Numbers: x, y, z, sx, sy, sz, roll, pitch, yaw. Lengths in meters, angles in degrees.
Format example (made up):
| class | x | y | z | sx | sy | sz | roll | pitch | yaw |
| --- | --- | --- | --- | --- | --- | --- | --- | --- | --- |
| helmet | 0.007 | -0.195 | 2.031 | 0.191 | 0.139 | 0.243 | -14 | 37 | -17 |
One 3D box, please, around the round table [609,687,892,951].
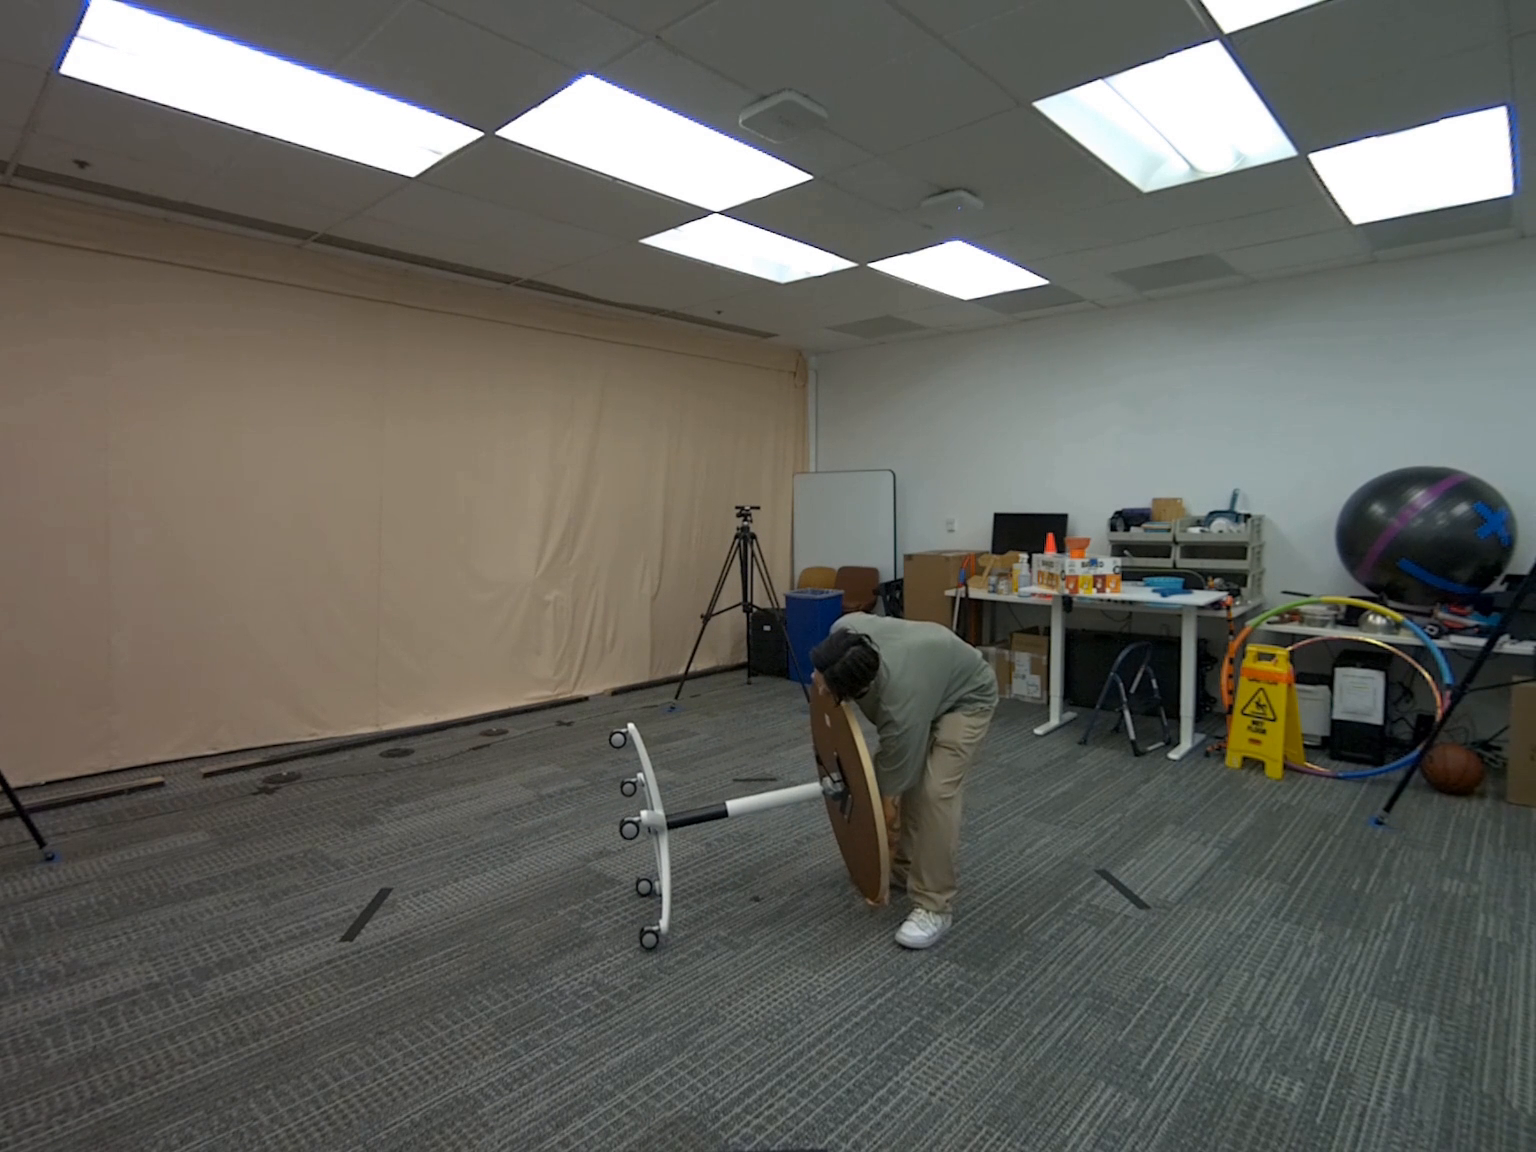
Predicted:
| class | x | y | z | sx | sy | sz | roll | pitch | yaw |
| --- | --- | --- | --- | --- | --- | --- | --- | --- | --- |
| round table | -0.099 | 0.789 | 2.885 | 0.779 | 0.782 | 0.795 | -10 | 5 | -10 |
